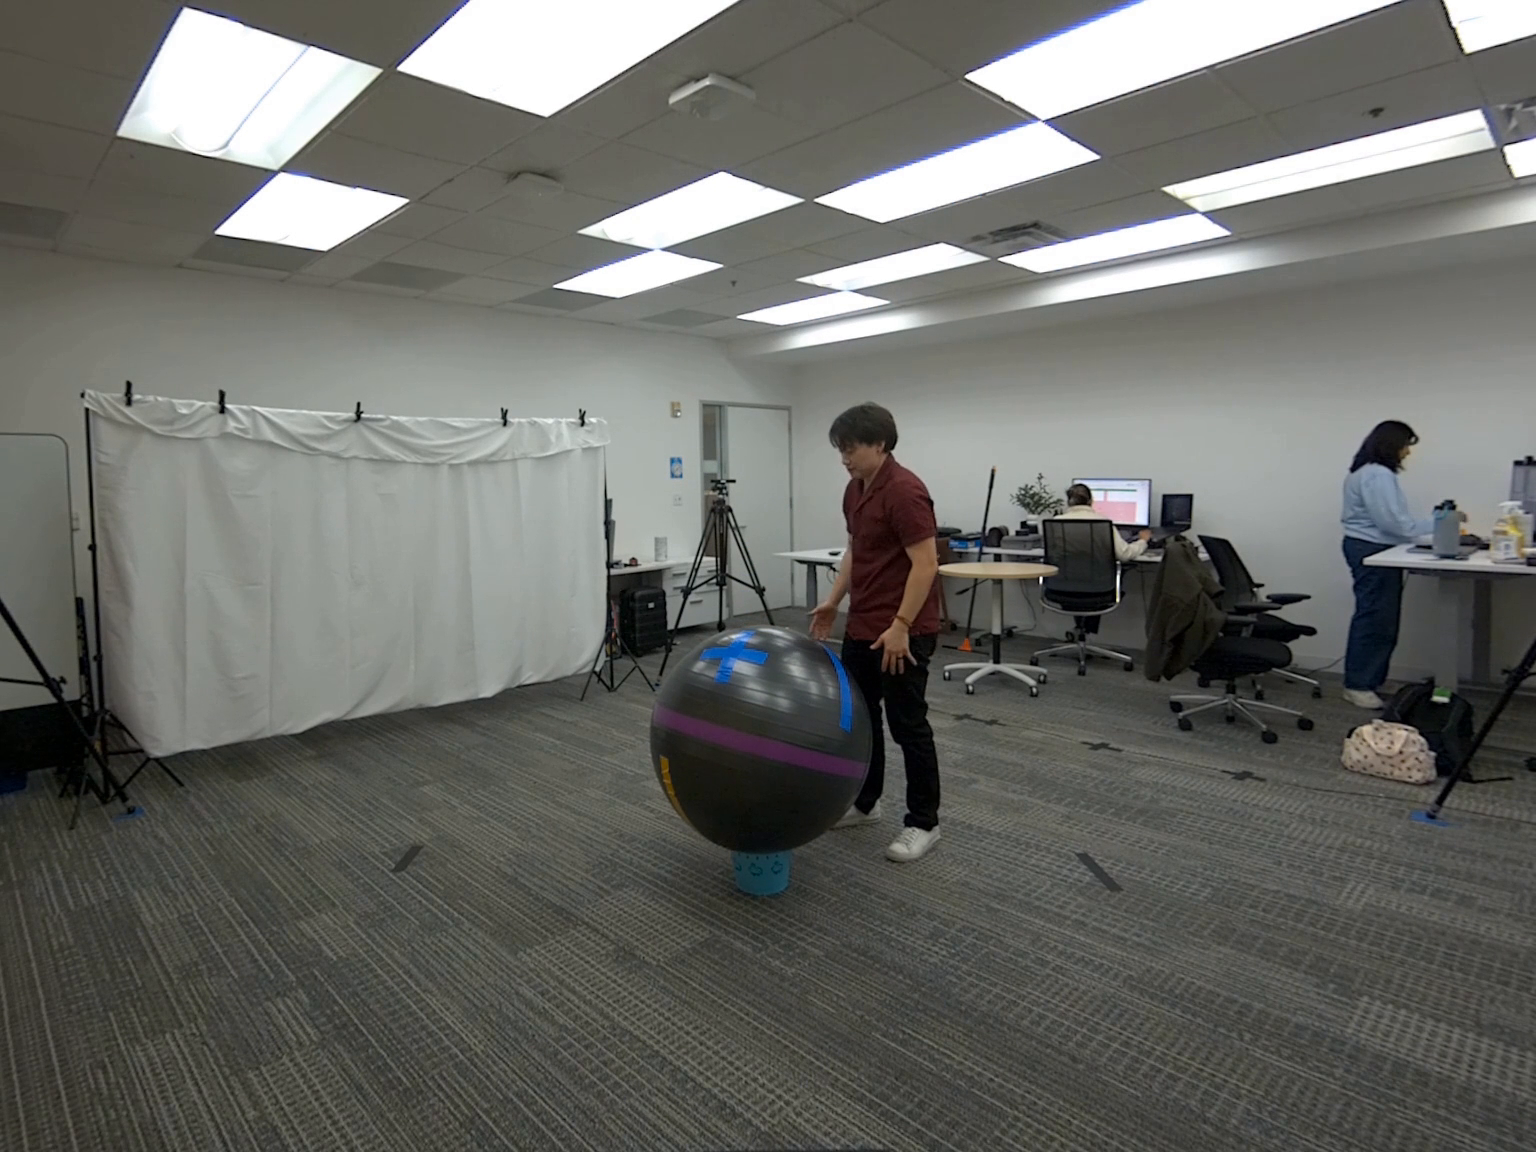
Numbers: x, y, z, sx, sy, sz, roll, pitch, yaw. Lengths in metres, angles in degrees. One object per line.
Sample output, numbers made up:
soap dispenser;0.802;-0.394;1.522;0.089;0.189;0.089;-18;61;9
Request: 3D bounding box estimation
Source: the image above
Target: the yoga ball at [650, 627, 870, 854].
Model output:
yoga ball;-0.028;0.550;2.949;0.757;0.755;0.762;-1;5;-2
